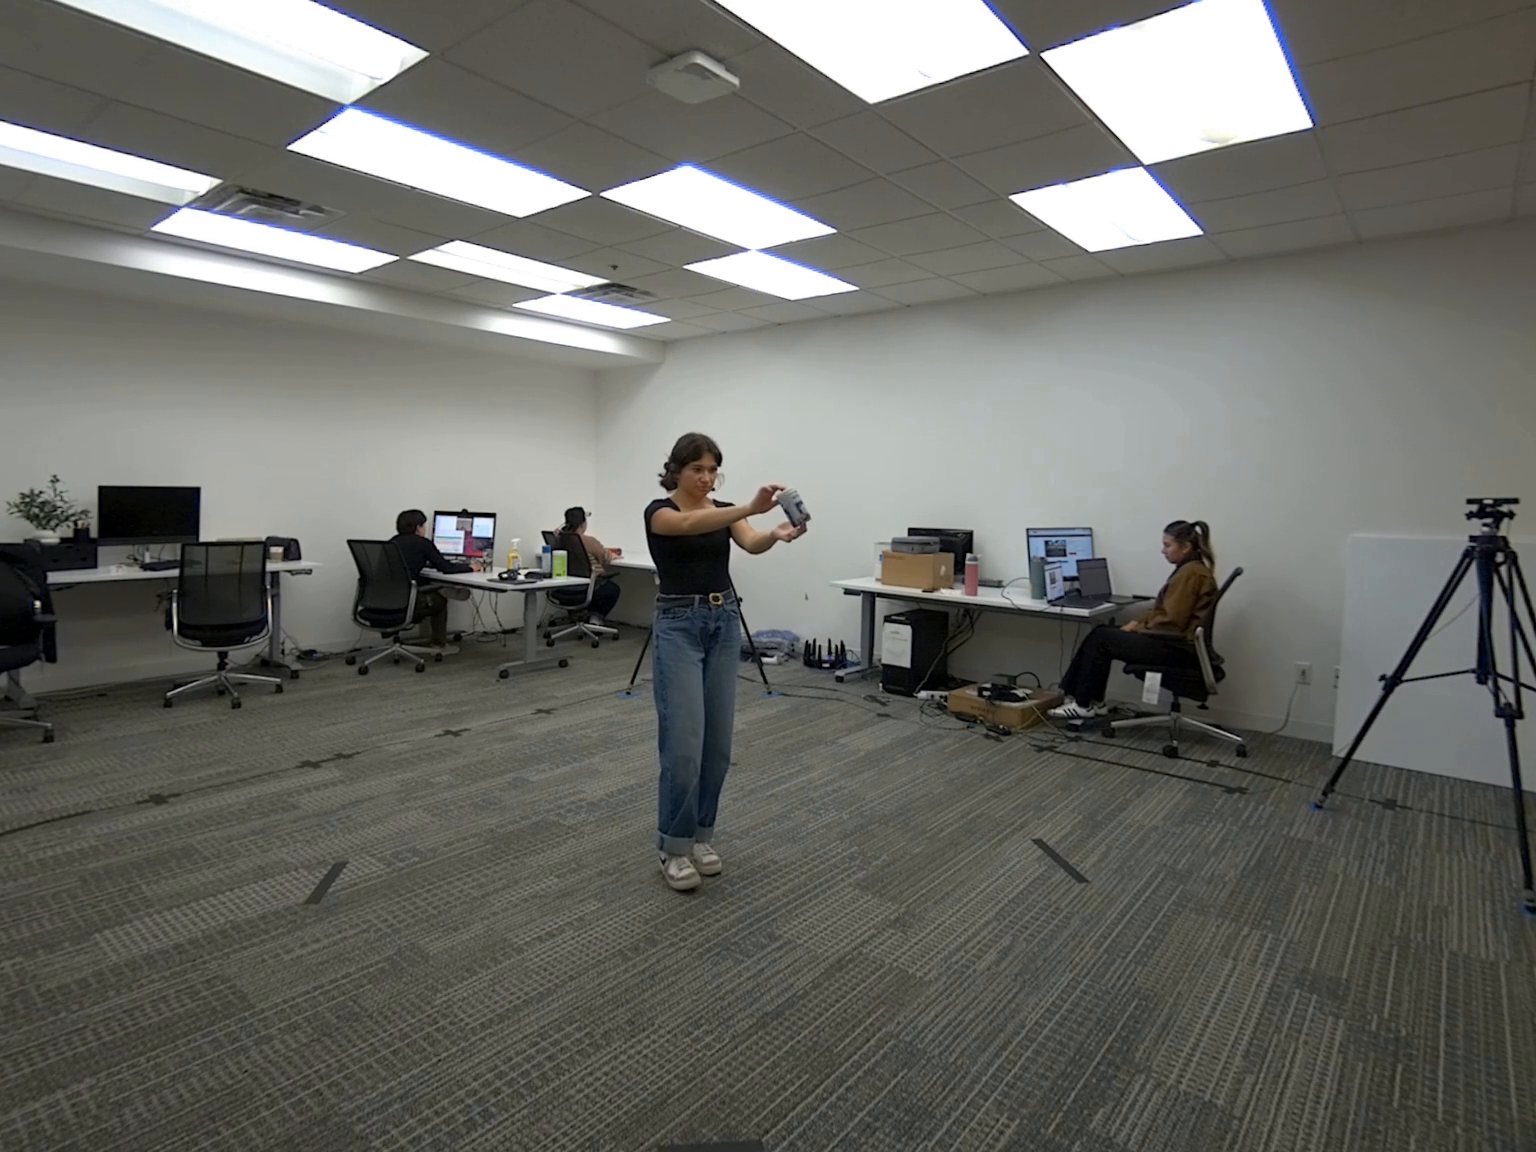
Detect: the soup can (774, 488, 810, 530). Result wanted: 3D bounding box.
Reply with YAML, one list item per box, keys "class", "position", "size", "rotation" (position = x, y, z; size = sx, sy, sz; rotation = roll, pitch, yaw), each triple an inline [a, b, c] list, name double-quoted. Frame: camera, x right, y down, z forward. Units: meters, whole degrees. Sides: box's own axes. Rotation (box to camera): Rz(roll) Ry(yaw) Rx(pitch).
- class: "soup can"
  position: [0.066, -0.219, 2.673]
  size: [0.067, 0.122, 0.067]
  rotation: [-25, -1, -2]
